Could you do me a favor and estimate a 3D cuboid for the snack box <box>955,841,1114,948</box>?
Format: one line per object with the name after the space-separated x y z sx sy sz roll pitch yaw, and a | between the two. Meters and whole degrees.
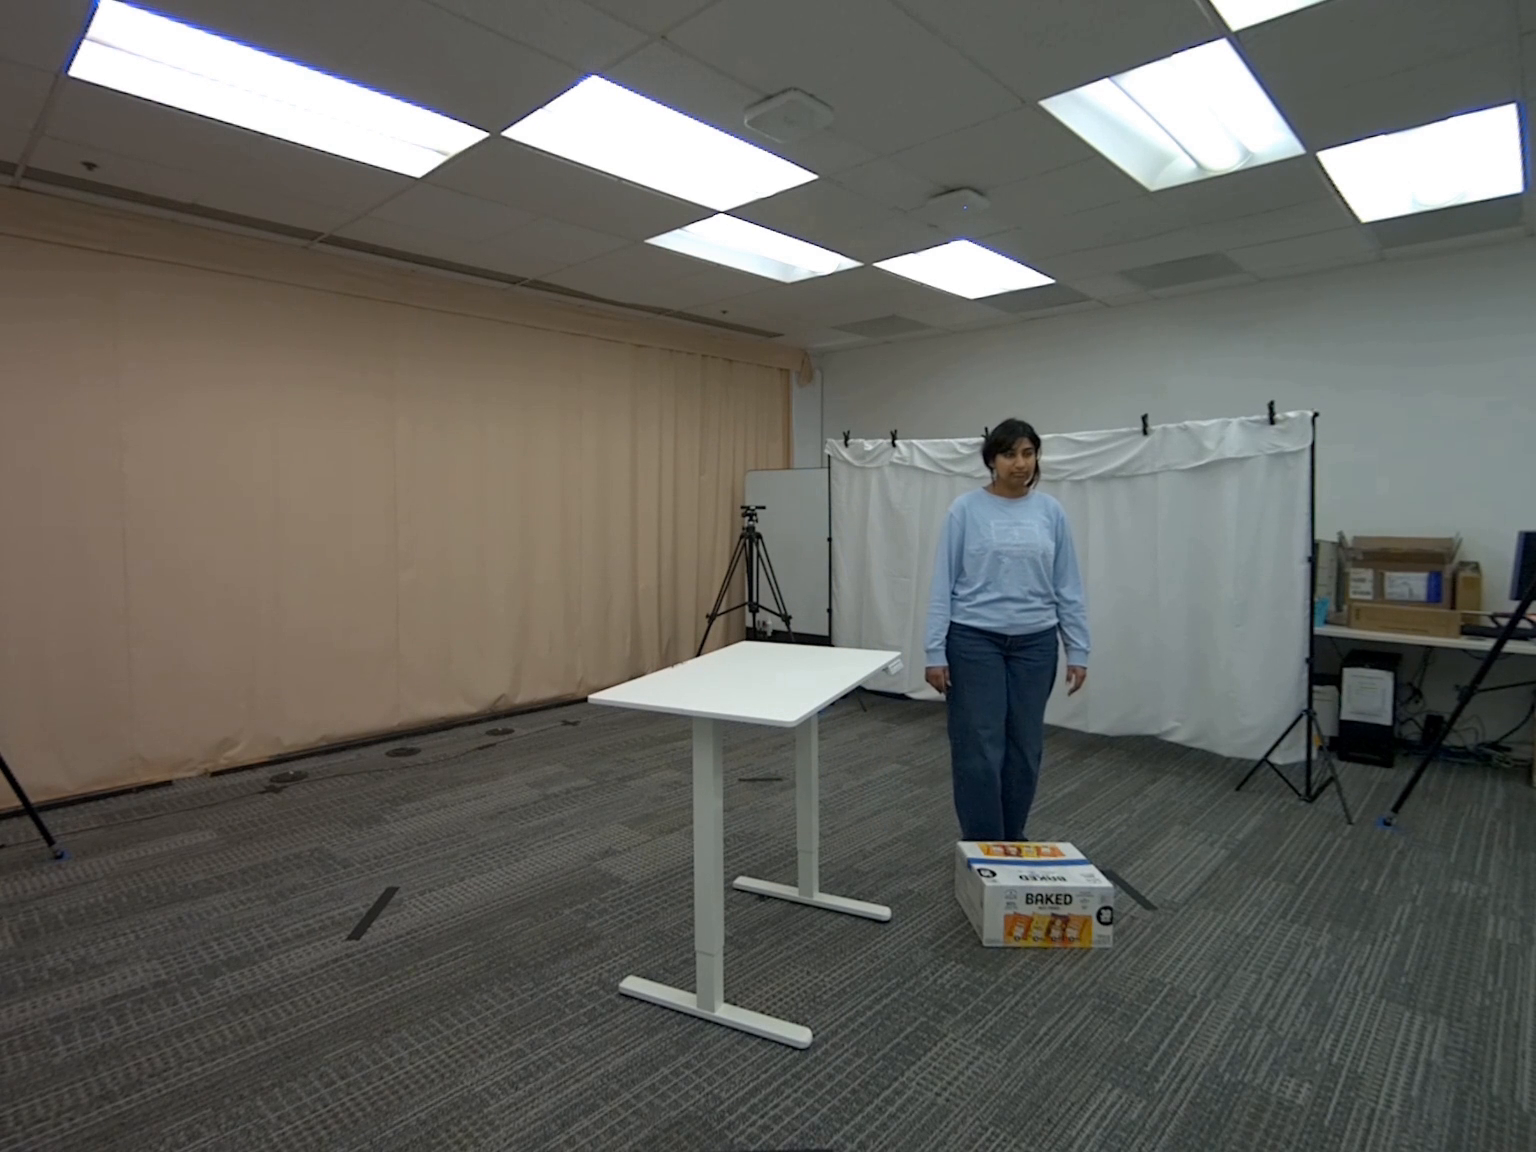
0.869 1.048 2.806 0.405 0.205 0.341 0 4 -1 | snack box
